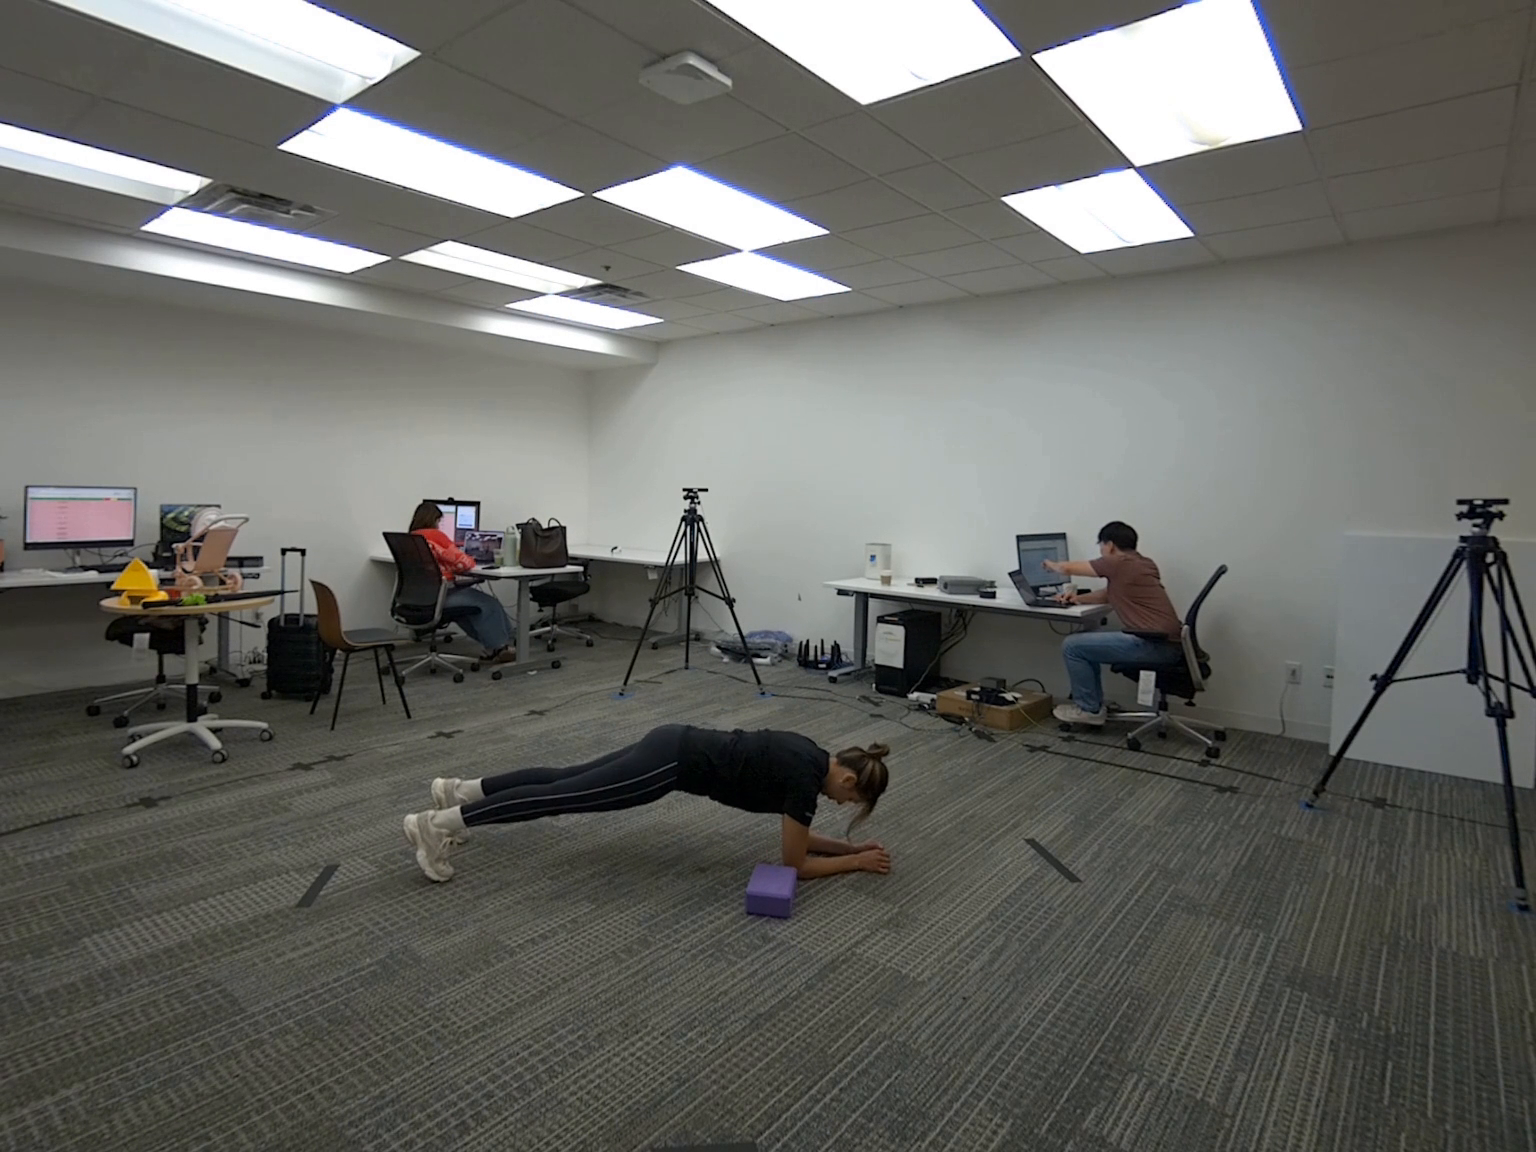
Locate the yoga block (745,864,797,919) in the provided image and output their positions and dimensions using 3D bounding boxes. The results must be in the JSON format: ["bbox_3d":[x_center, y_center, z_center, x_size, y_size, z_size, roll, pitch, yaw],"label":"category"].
[{"bbox_3d":[0.004,1.056,2.878,0.151,0.076,0.227,3,5,9],"label":"yoga block"}]
